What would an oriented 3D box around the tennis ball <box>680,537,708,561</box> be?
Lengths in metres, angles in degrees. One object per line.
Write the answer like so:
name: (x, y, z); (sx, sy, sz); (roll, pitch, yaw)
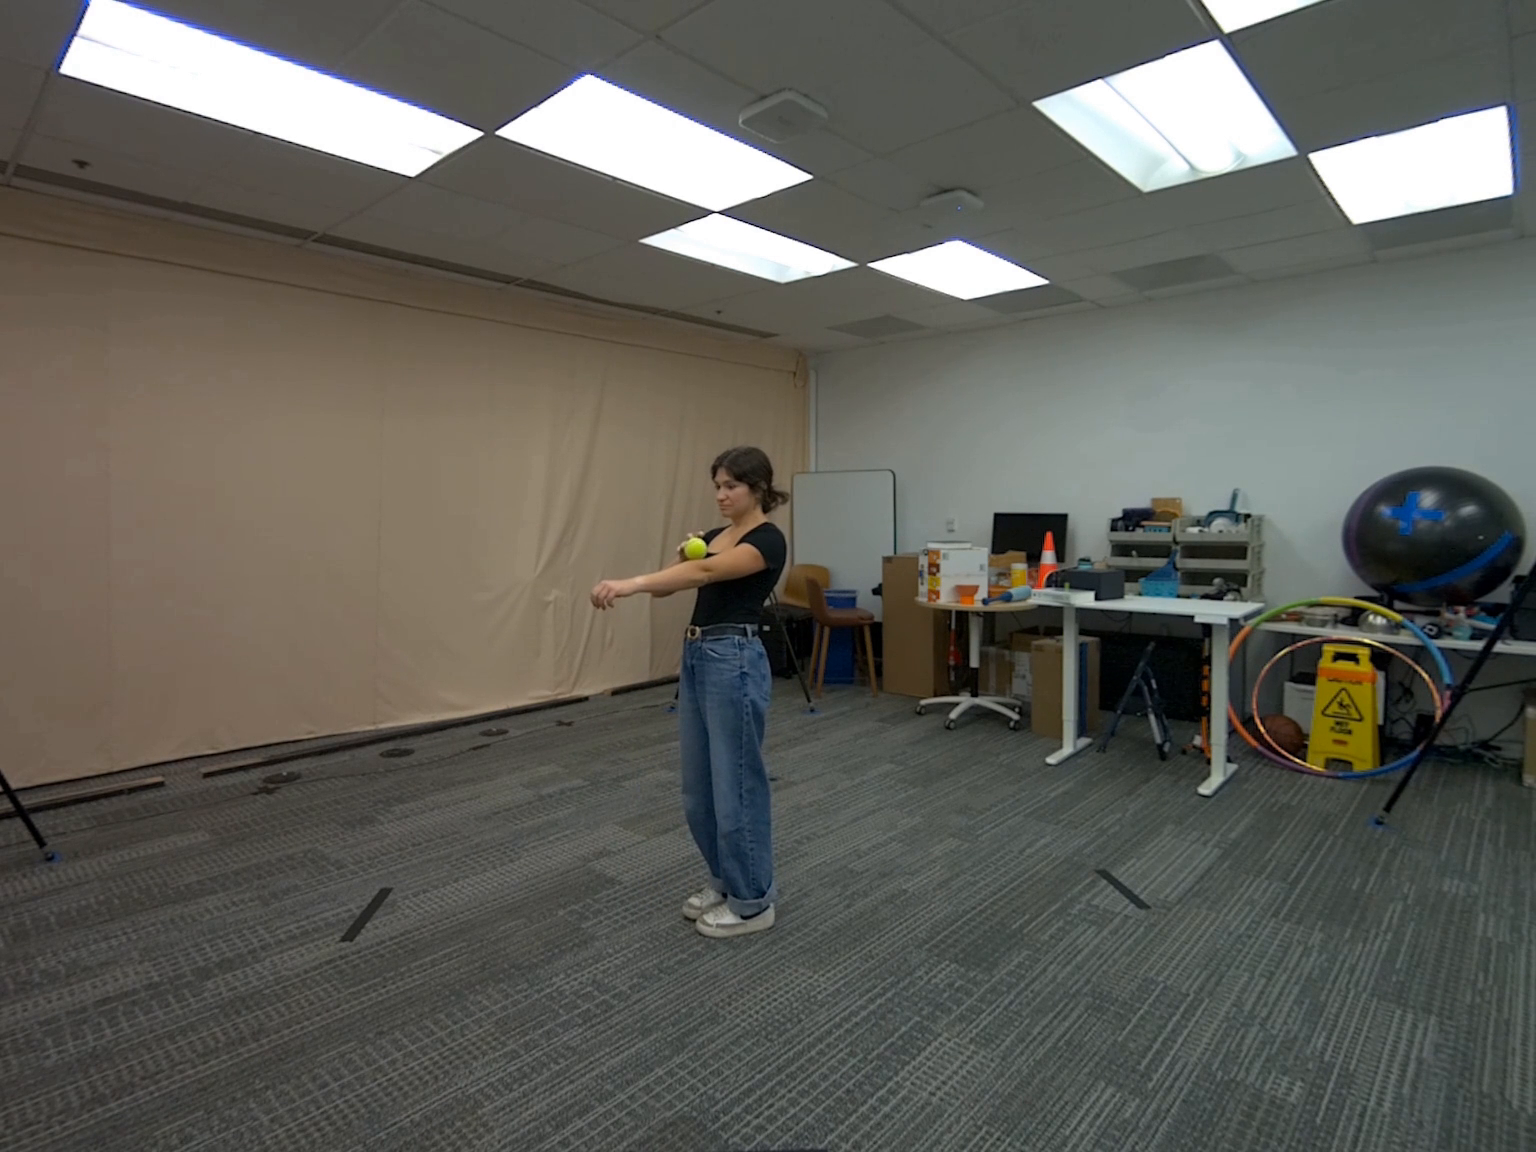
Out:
tennis ball: (-0.210, -0.078, 2.527); (0.066, 0.066, 0.067); (0, 4, -2)
